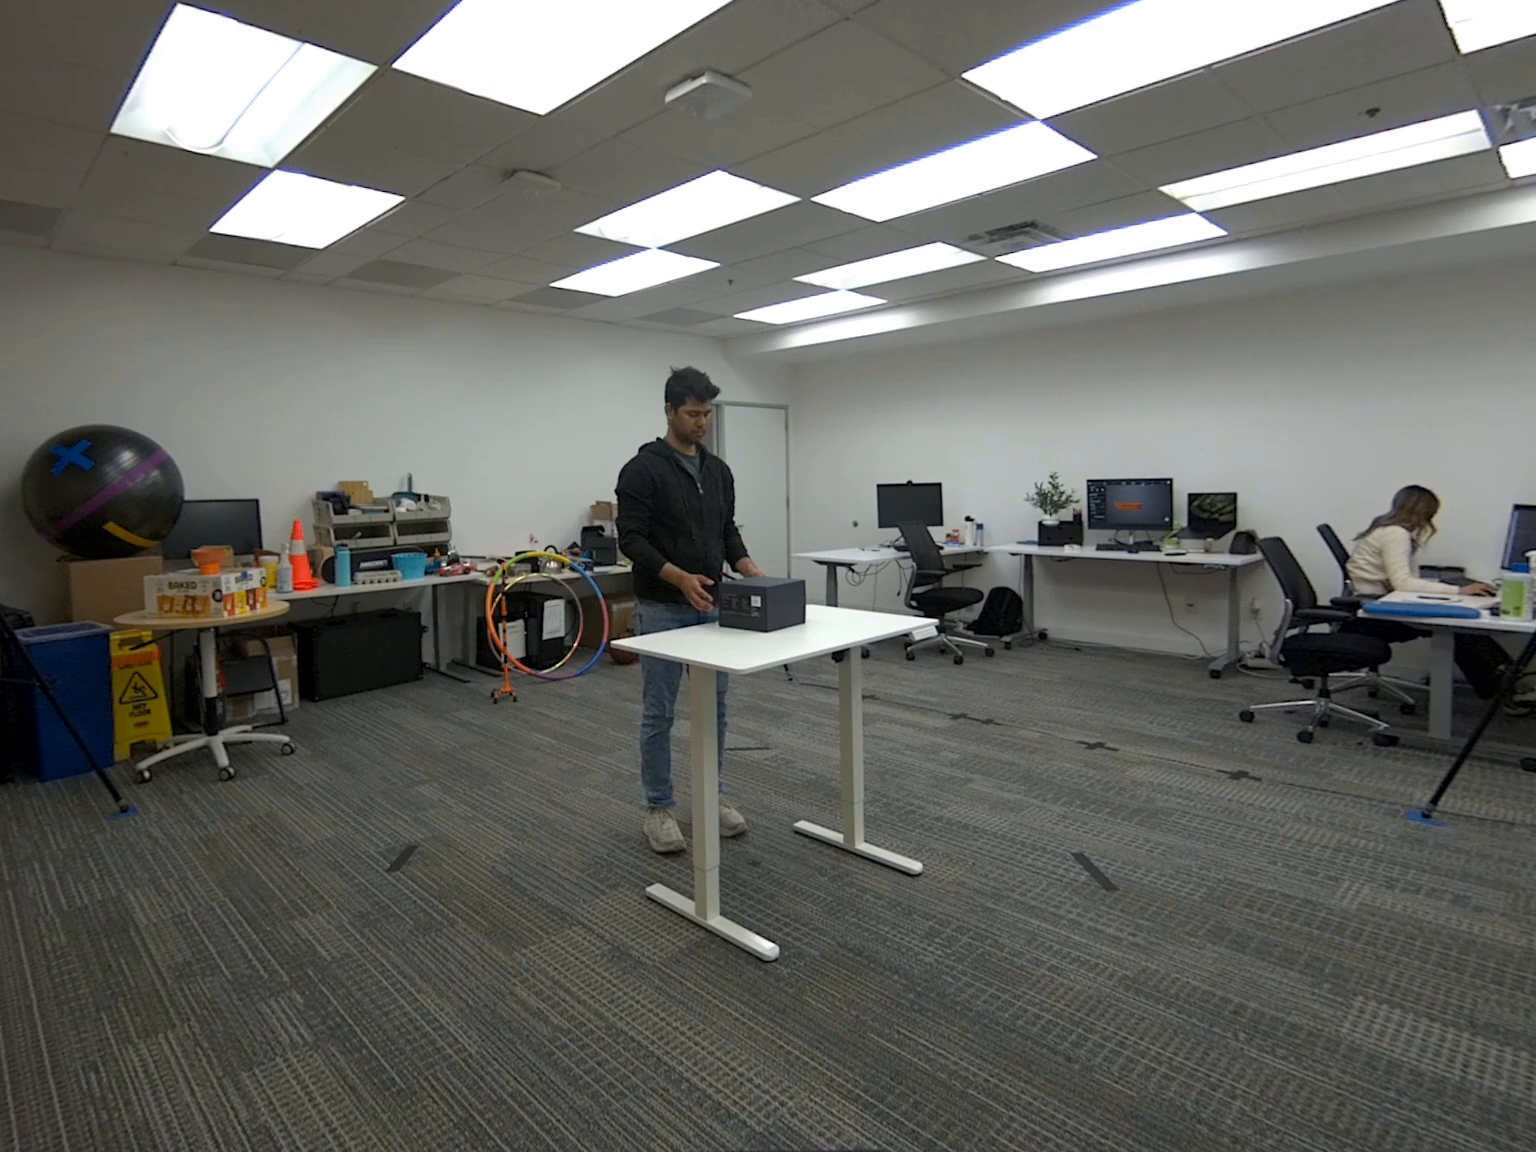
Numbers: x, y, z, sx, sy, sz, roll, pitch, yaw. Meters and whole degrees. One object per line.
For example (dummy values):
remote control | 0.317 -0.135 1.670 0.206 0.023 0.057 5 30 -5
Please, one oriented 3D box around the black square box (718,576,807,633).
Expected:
black square box | -0.012 0.094 2.993 0.223 0.155 0.222 2 7 36
